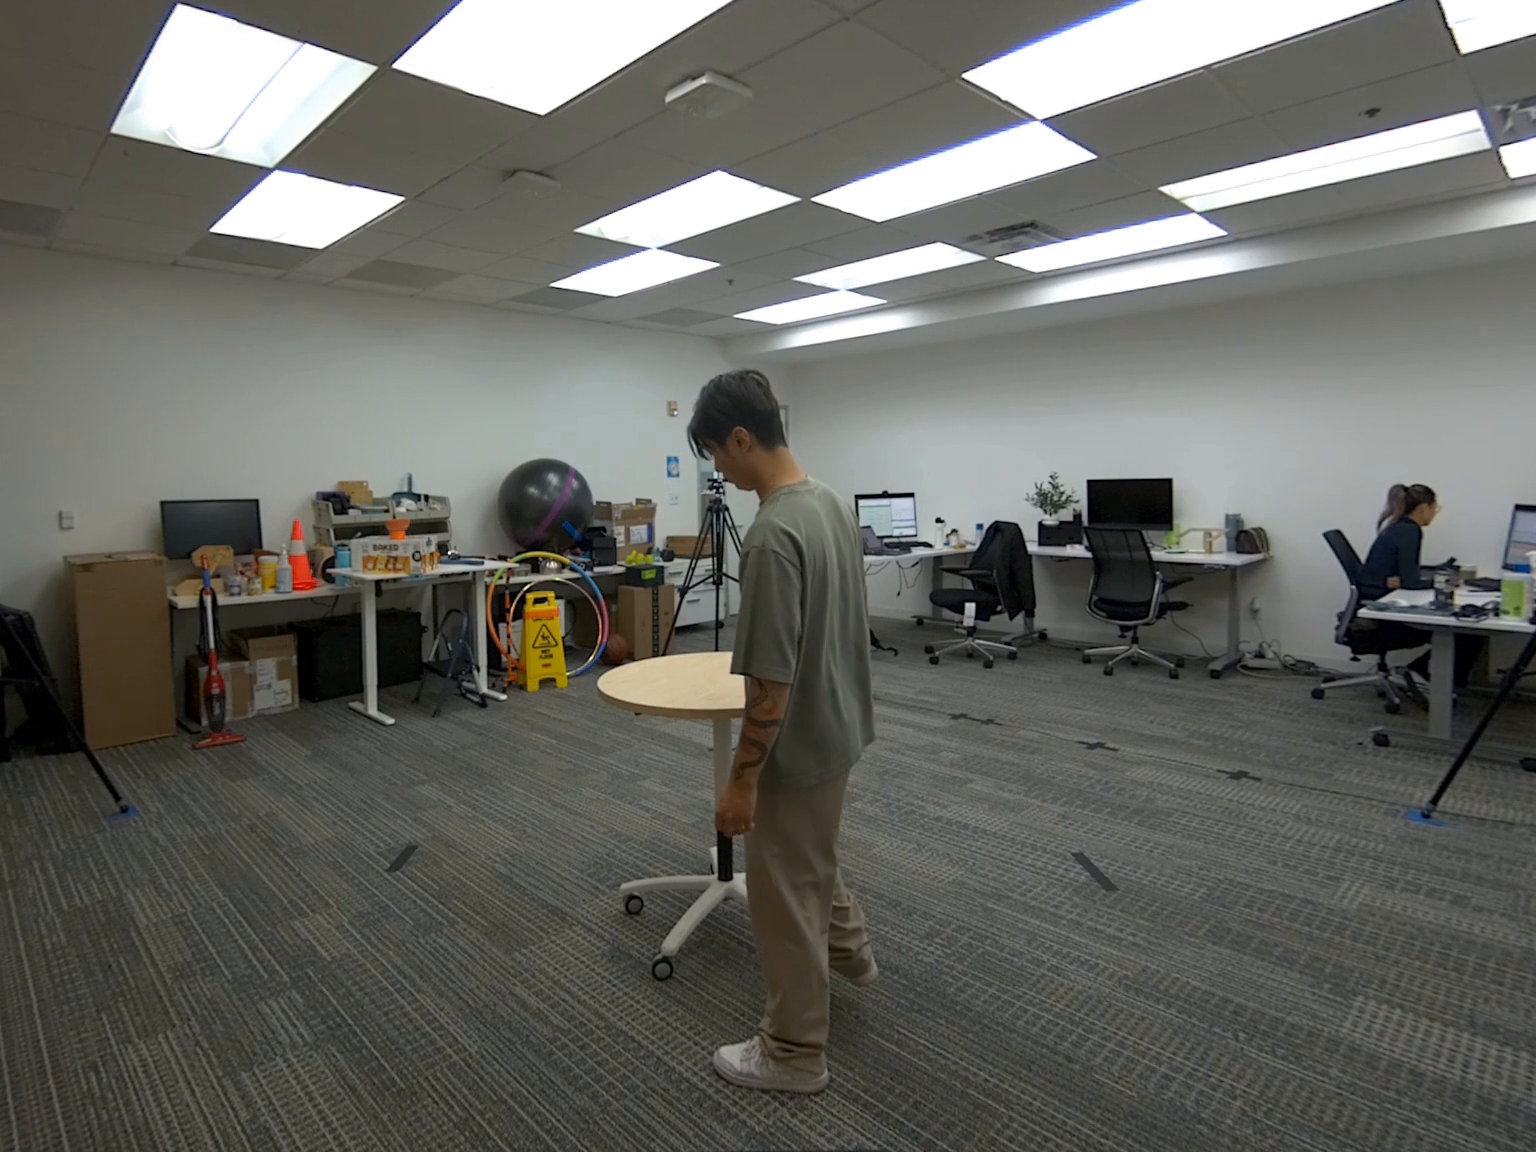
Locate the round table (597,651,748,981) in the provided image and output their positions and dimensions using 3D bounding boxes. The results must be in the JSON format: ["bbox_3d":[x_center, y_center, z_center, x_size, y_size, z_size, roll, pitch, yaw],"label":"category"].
[{"bbox_3d":[-0.145,0.700,2.688,0.784,0.783,0.789,-1,5,-2],"label":"round table"}]
